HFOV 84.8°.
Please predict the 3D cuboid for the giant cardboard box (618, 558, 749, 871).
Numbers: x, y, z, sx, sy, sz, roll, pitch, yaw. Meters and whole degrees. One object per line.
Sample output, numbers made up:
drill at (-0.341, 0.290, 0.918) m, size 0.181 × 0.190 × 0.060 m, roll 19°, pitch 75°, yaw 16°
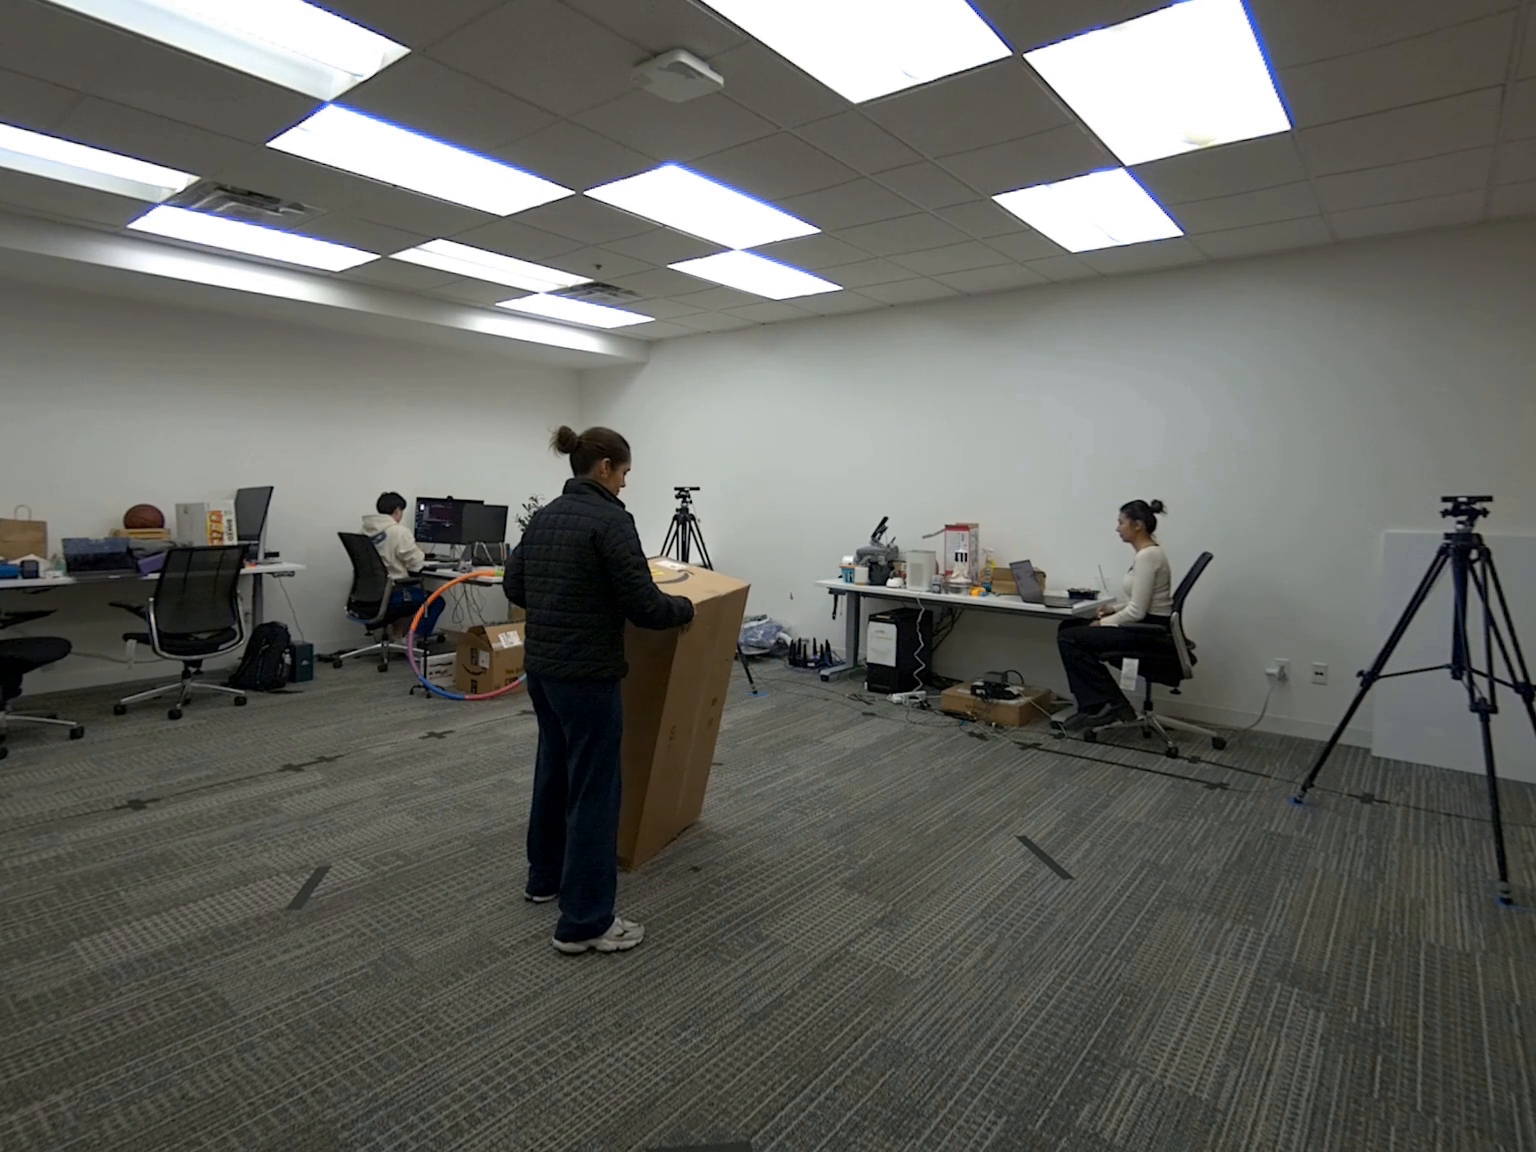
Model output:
giant cardboard box at (-0.450, 0.494, 3.319) m, size 0.438 × 1.017 × 0.566 m, roll 17°, pitch 12°, yaw 21°
